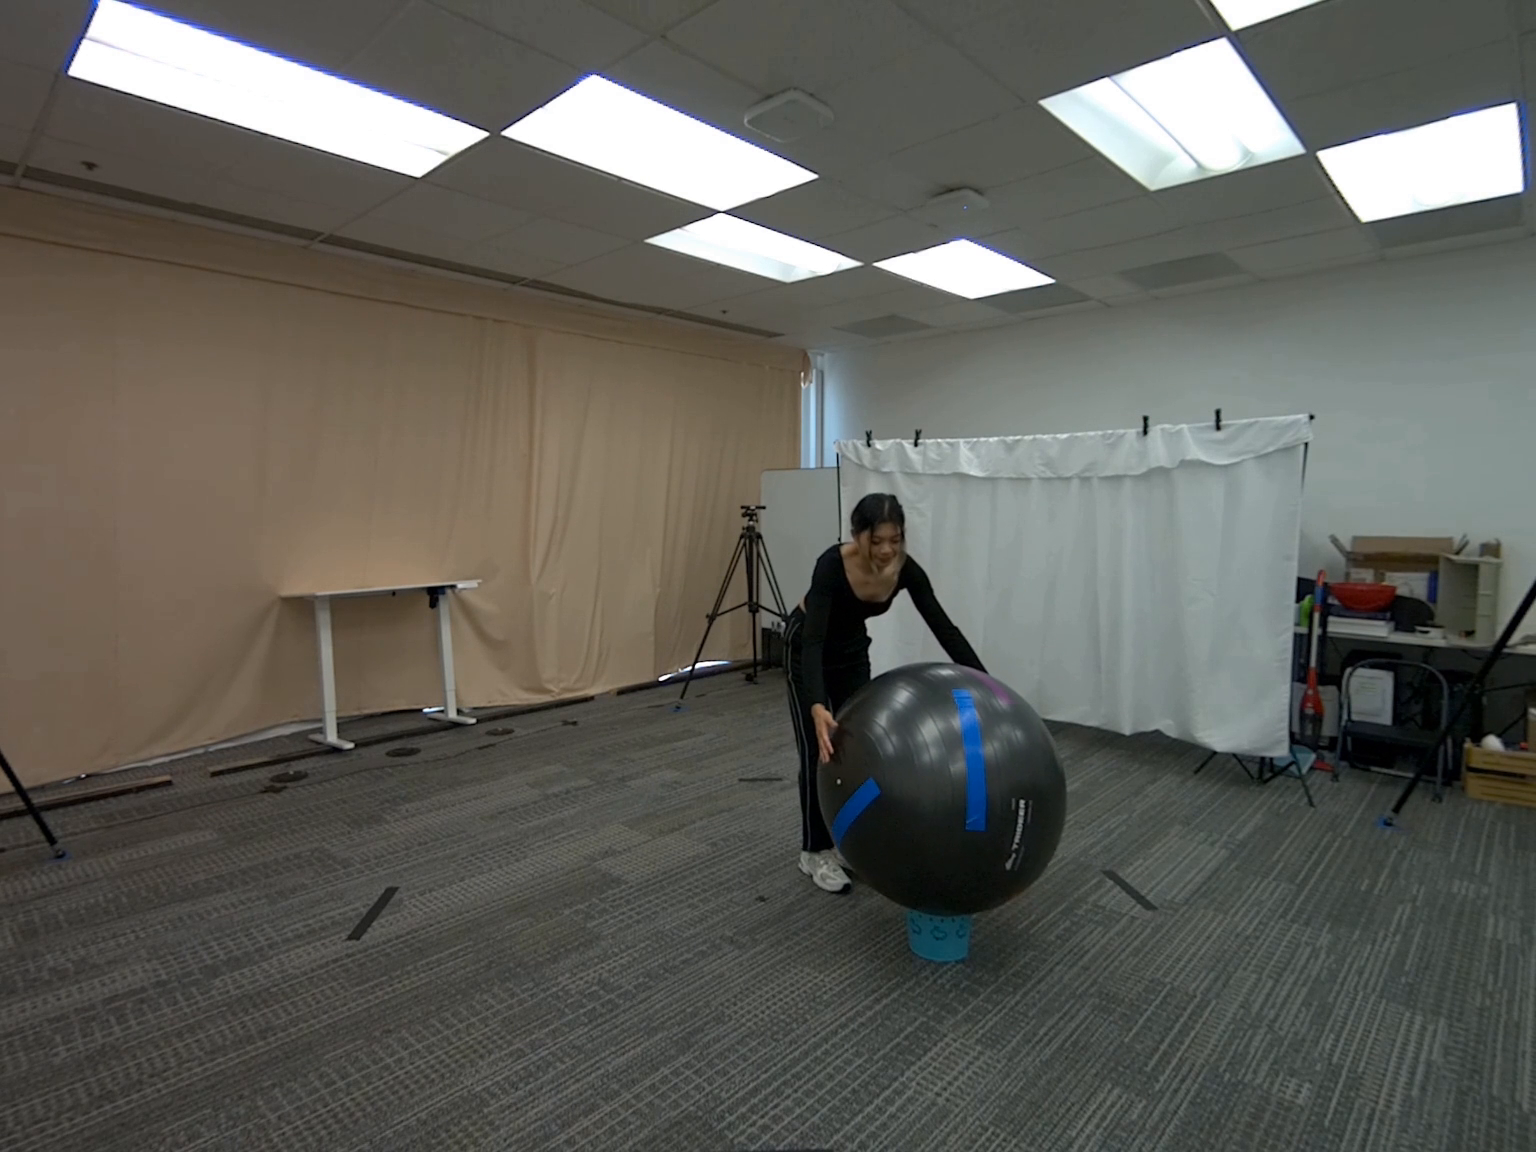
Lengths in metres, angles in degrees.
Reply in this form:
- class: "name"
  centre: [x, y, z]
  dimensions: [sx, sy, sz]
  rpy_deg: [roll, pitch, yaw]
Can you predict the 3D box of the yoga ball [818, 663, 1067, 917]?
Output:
- class: "yoga ball"
  centre: [0.540, 0.660, 2.642]
  dimensions: [0.757, 0.756, 0.760]
  rpy_deg: [0, 4, -2]
